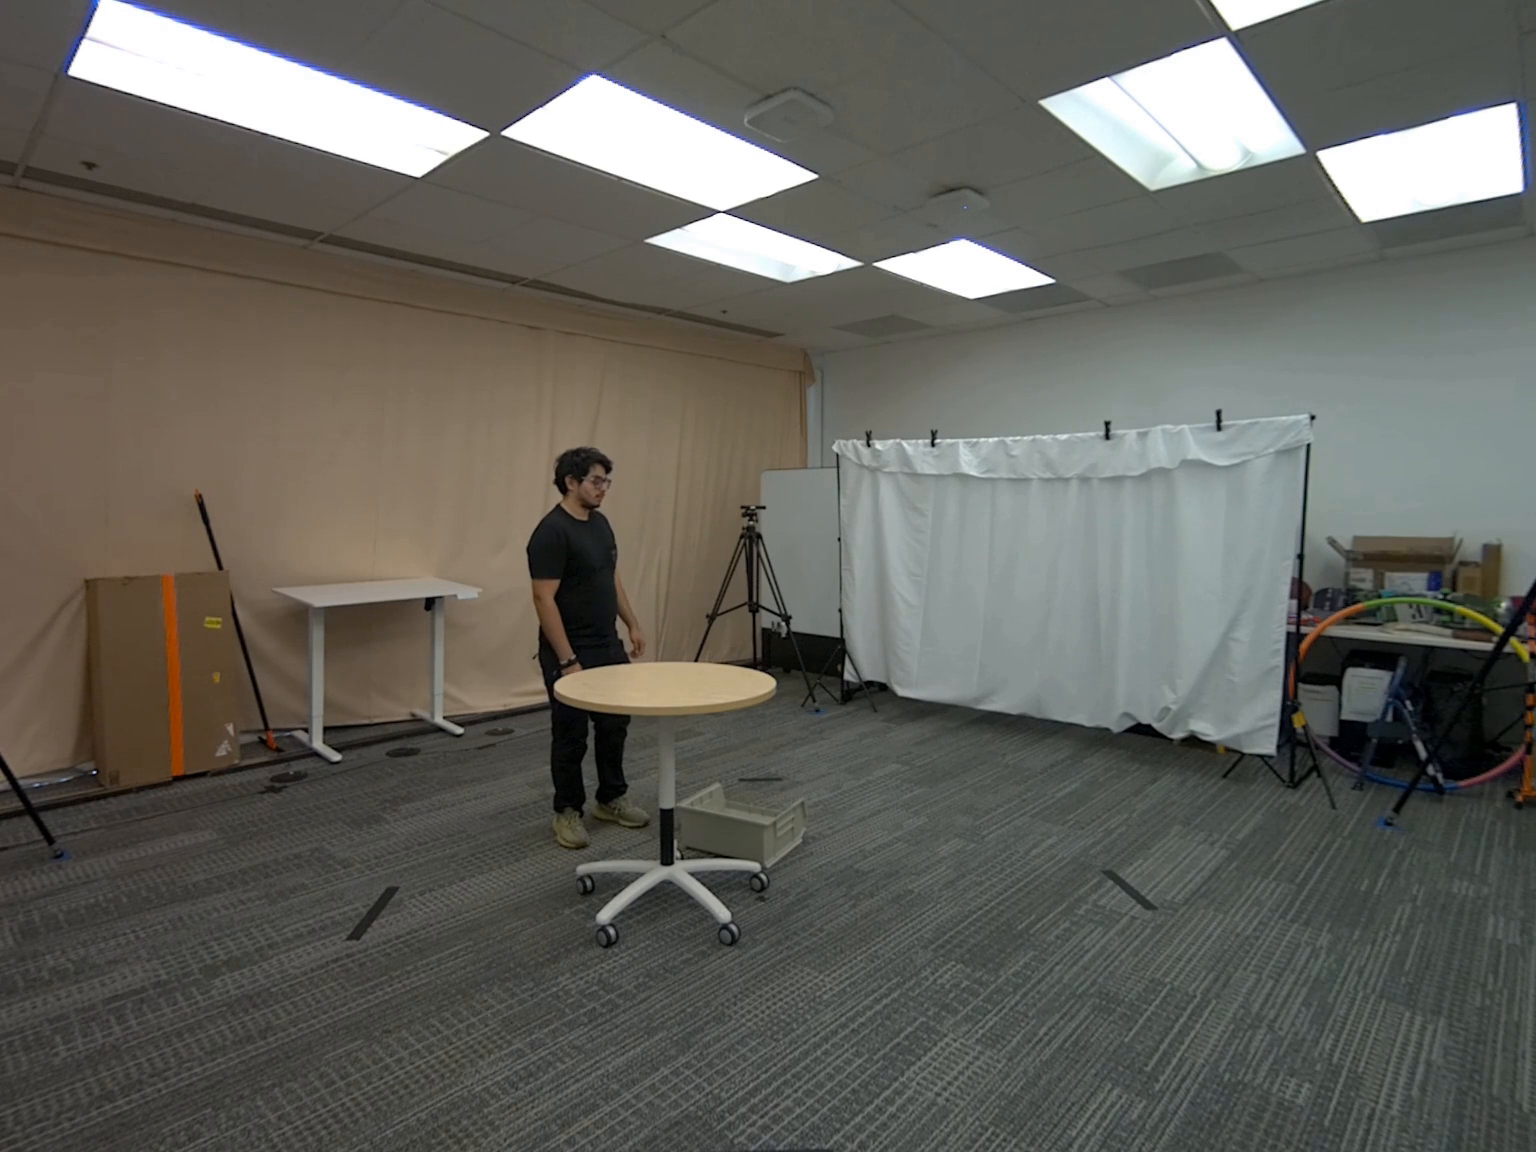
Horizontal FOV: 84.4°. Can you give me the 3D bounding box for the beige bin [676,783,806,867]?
[{"bbox_3d":[-0.103,1.015,3.477,0.434,0.188,0.368,2,6,29],"label":"beige bin"}]
